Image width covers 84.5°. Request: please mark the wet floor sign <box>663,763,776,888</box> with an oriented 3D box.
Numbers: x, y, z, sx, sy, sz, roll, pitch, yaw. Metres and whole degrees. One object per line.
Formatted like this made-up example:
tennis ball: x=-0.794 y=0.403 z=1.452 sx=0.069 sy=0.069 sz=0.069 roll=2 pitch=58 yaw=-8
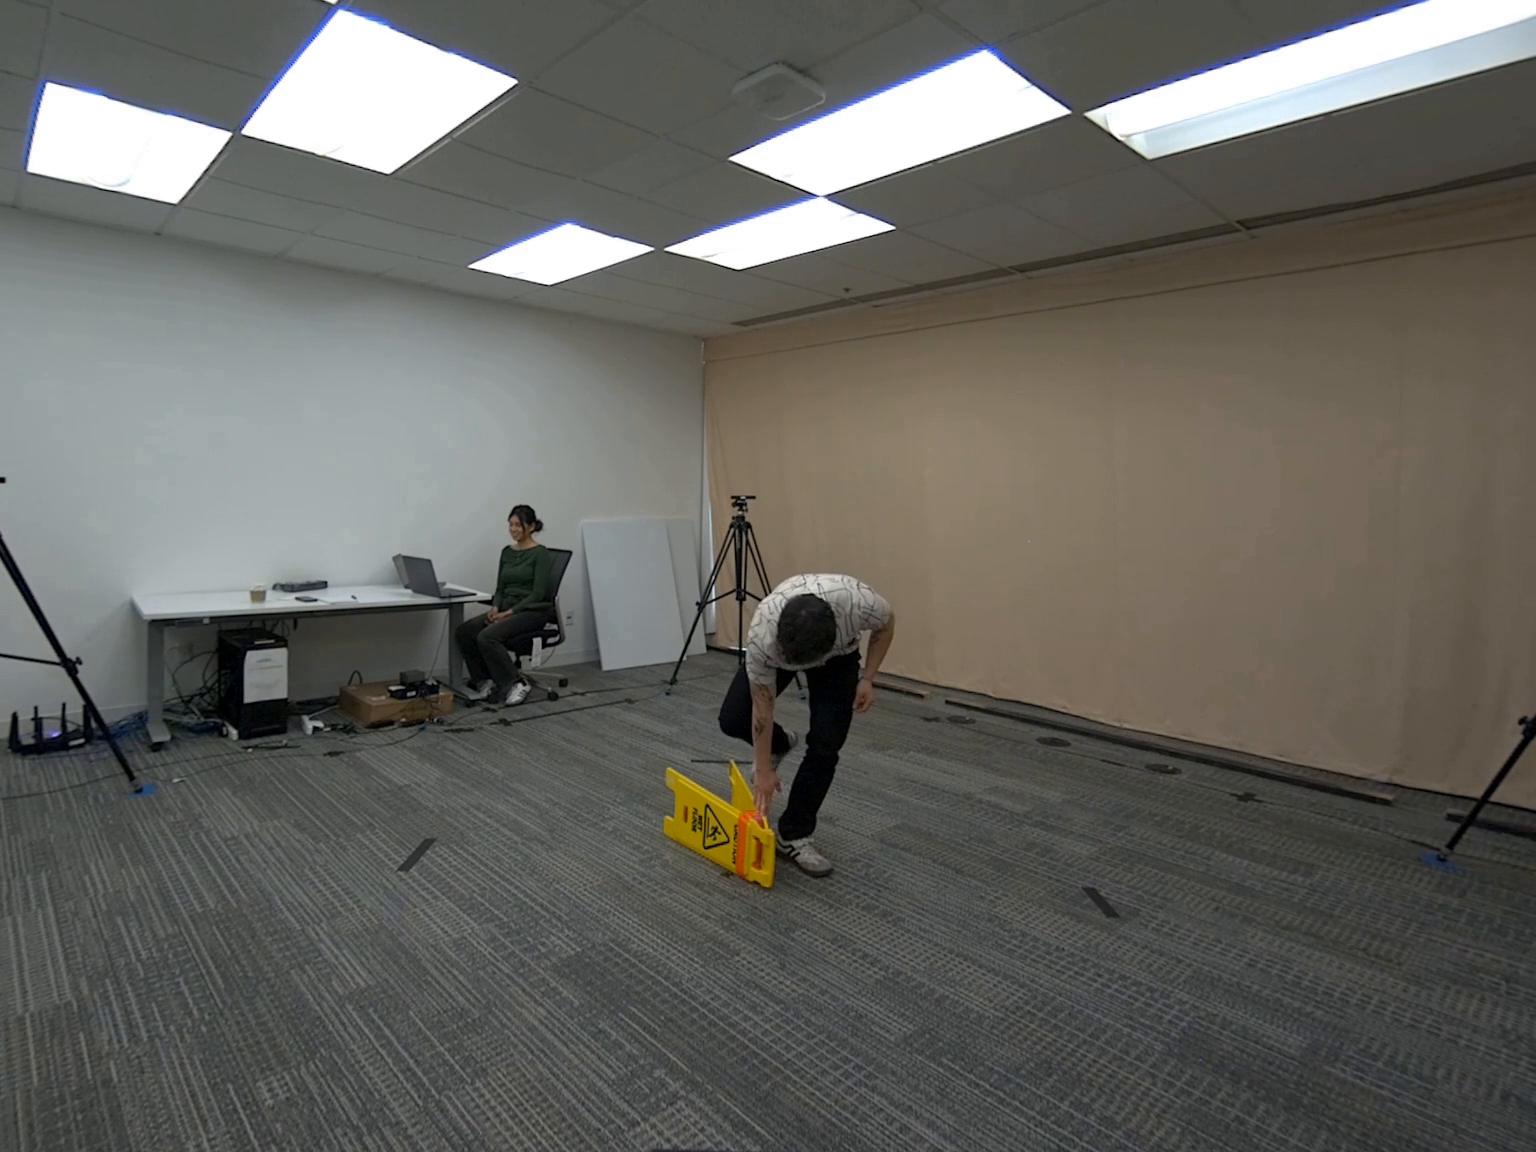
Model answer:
wet floor sign: x=-0.146 y=0.959 z=3.237 sx=0.284 sy=0.281 sz=0.661 roll=0 pitch=7 yaw=-28
